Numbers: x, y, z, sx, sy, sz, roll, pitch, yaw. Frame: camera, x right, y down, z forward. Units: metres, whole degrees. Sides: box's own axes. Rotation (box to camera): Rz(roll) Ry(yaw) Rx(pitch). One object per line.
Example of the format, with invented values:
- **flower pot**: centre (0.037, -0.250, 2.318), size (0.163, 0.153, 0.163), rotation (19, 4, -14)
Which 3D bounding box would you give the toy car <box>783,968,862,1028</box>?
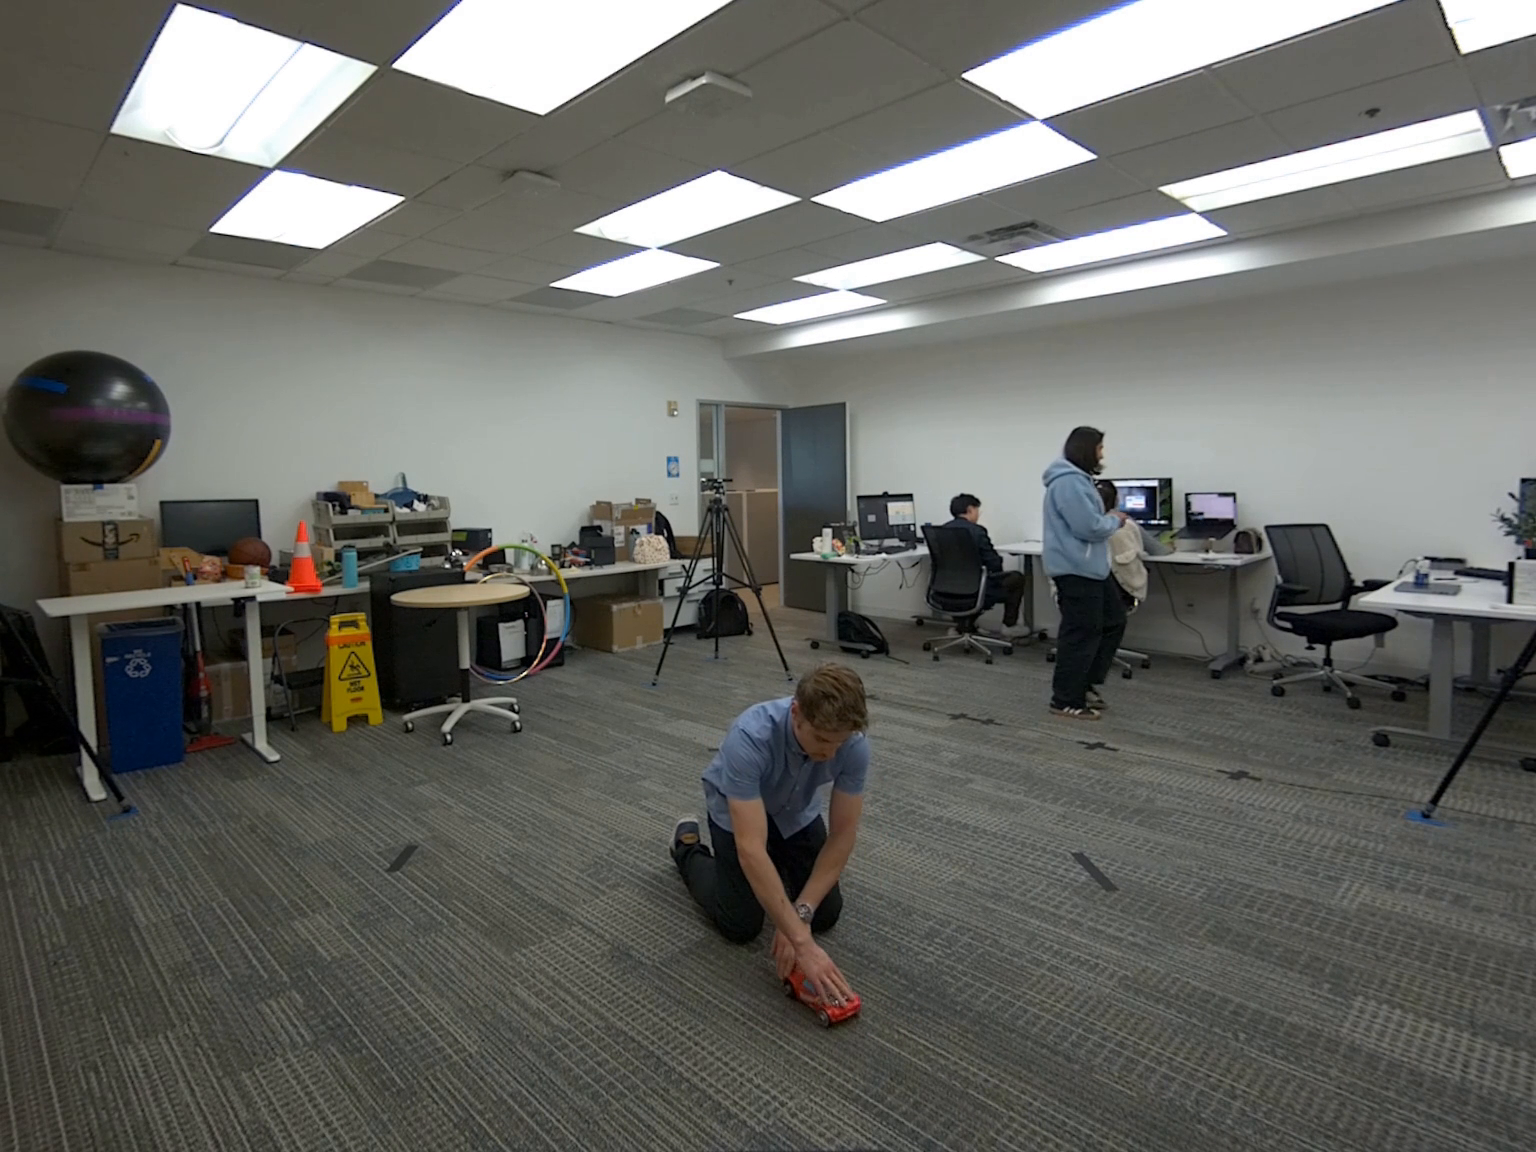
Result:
- **toy car**: centre (0.136, 1.117, 2.278), size (0.127, 0.082, 0.264), rotation (-4, 18, -32)
